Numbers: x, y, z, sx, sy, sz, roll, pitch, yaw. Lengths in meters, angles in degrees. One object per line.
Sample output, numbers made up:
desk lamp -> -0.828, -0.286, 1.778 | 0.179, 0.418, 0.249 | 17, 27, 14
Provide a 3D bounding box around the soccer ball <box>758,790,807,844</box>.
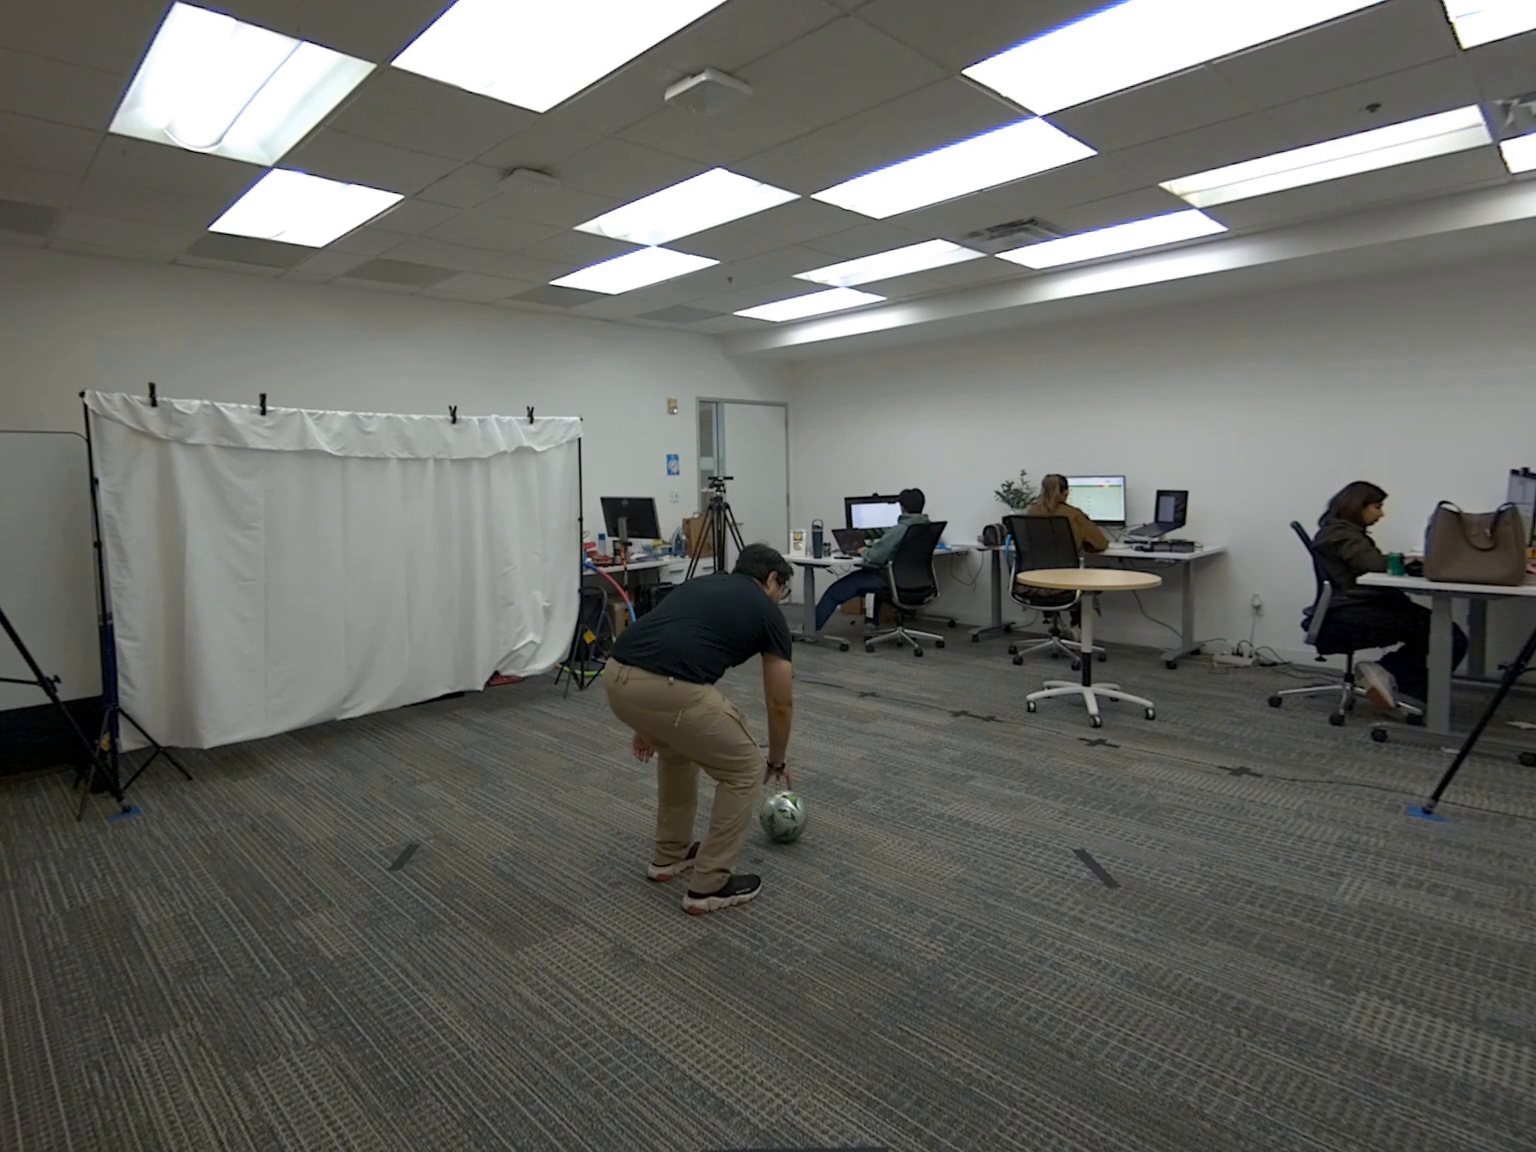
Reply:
soccer ball -> 0.065, 0.922, 3.287 | 0.187, 0.187, 0.188 | -1, 5, -2
